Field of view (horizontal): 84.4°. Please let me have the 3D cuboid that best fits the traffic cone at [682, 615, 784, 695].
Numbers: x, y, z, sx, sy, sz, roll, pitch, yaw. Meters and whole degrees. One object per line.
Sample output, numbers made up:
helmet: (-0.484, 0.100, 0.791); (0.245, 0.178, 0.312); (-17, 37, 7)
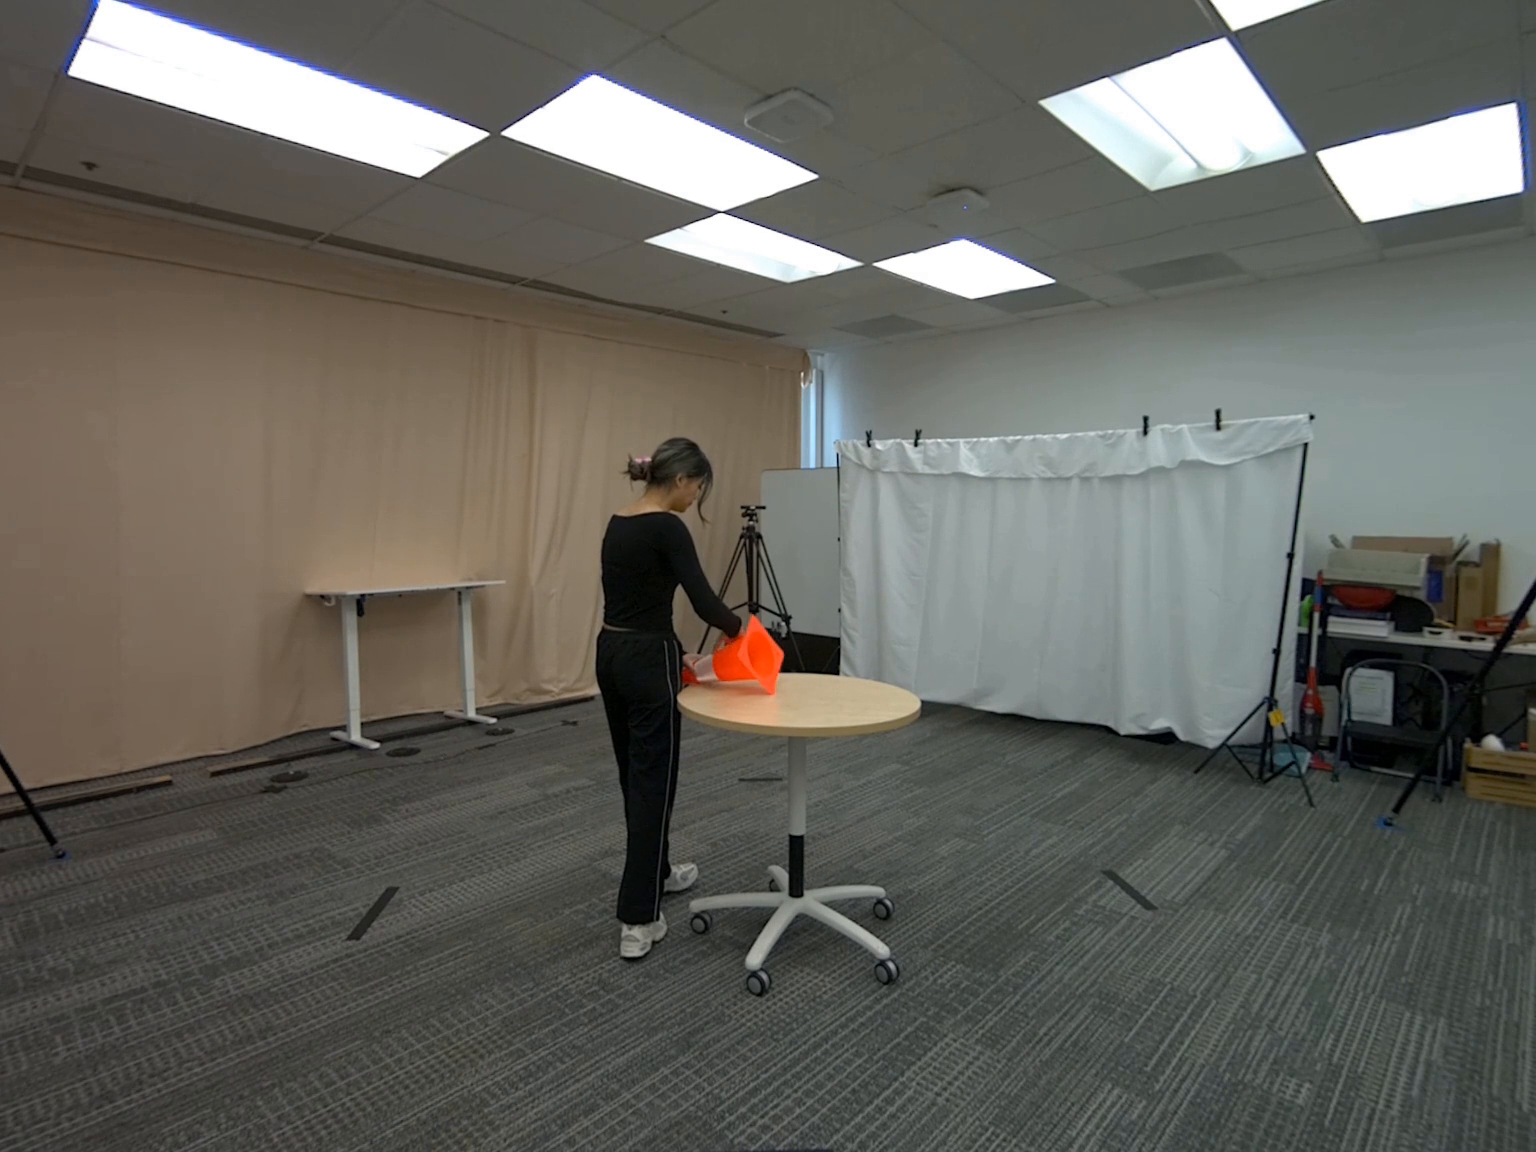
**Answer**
traffic cone: (-0.172, 0.308, 2.825); (0.391, 0.199, 0.205); (-19, 31, 28)
